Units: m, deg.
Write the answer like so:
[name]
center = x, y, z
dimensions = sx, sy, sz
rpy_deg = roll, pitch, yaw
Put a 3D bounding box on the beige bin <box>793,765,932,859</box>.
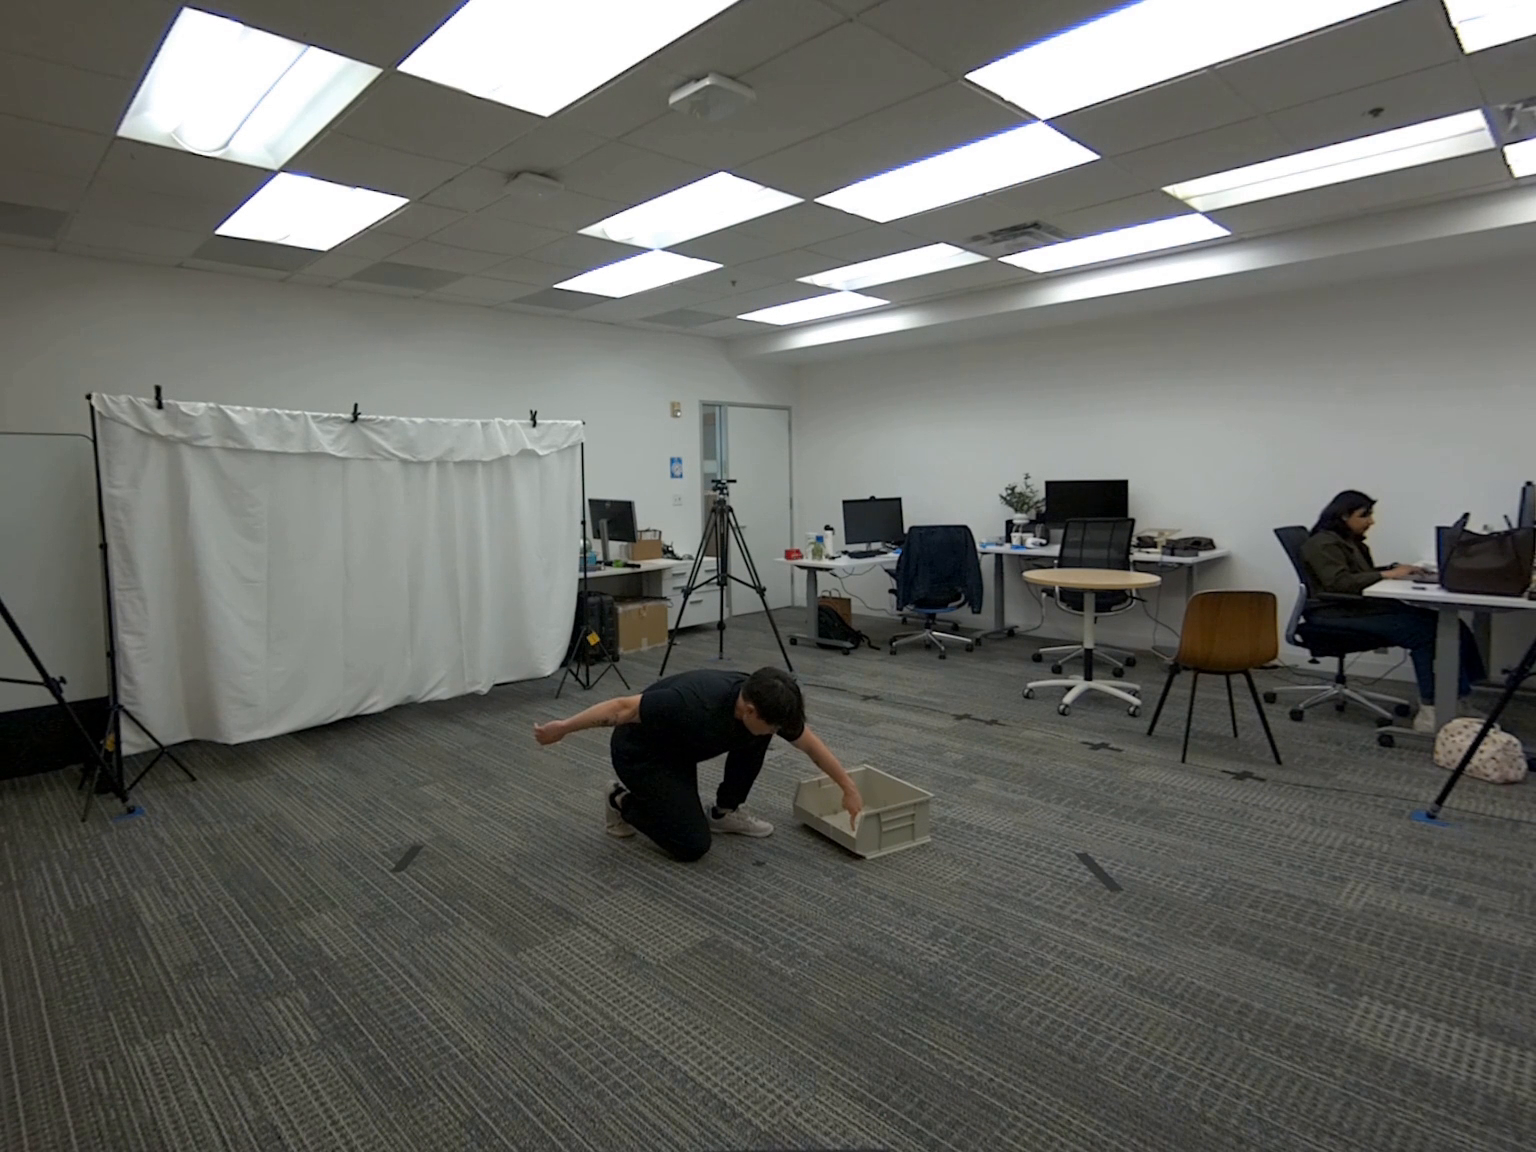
[beige bin]
center = 0.364, 0.917, 3.357
dimensions = 0.368, 0.188, 0.434
rpy_deg = -4, 6, -31
